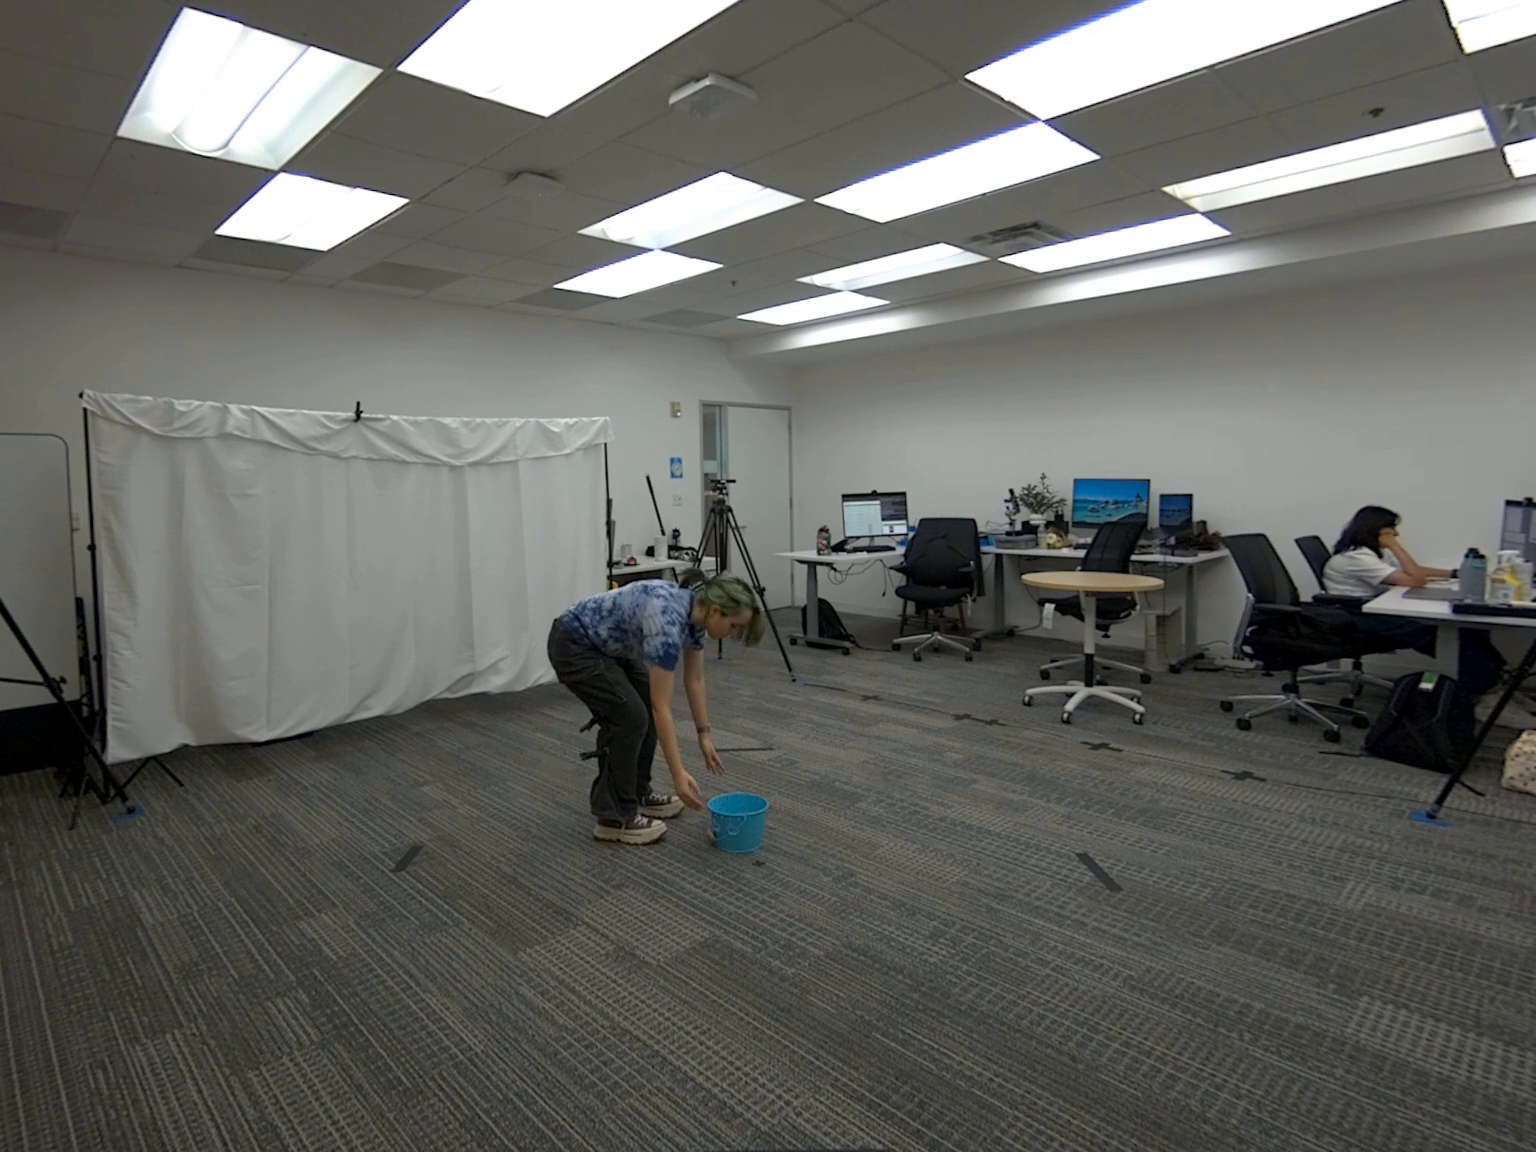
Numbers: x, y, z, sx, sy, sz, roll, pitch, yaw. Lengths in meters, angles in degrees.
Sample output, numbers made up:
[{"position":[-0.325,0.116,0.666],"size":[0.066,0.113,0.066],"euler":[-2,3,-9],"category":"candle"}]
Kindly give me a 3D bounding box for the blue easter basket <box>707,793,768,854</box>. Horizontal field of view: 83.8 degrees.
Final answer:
[{"position":[-0.117,0.948,3.286],"size":[0.243,0.155,0.245],"euler":[-3,6,-1],"category":"blue easter basket"}]
